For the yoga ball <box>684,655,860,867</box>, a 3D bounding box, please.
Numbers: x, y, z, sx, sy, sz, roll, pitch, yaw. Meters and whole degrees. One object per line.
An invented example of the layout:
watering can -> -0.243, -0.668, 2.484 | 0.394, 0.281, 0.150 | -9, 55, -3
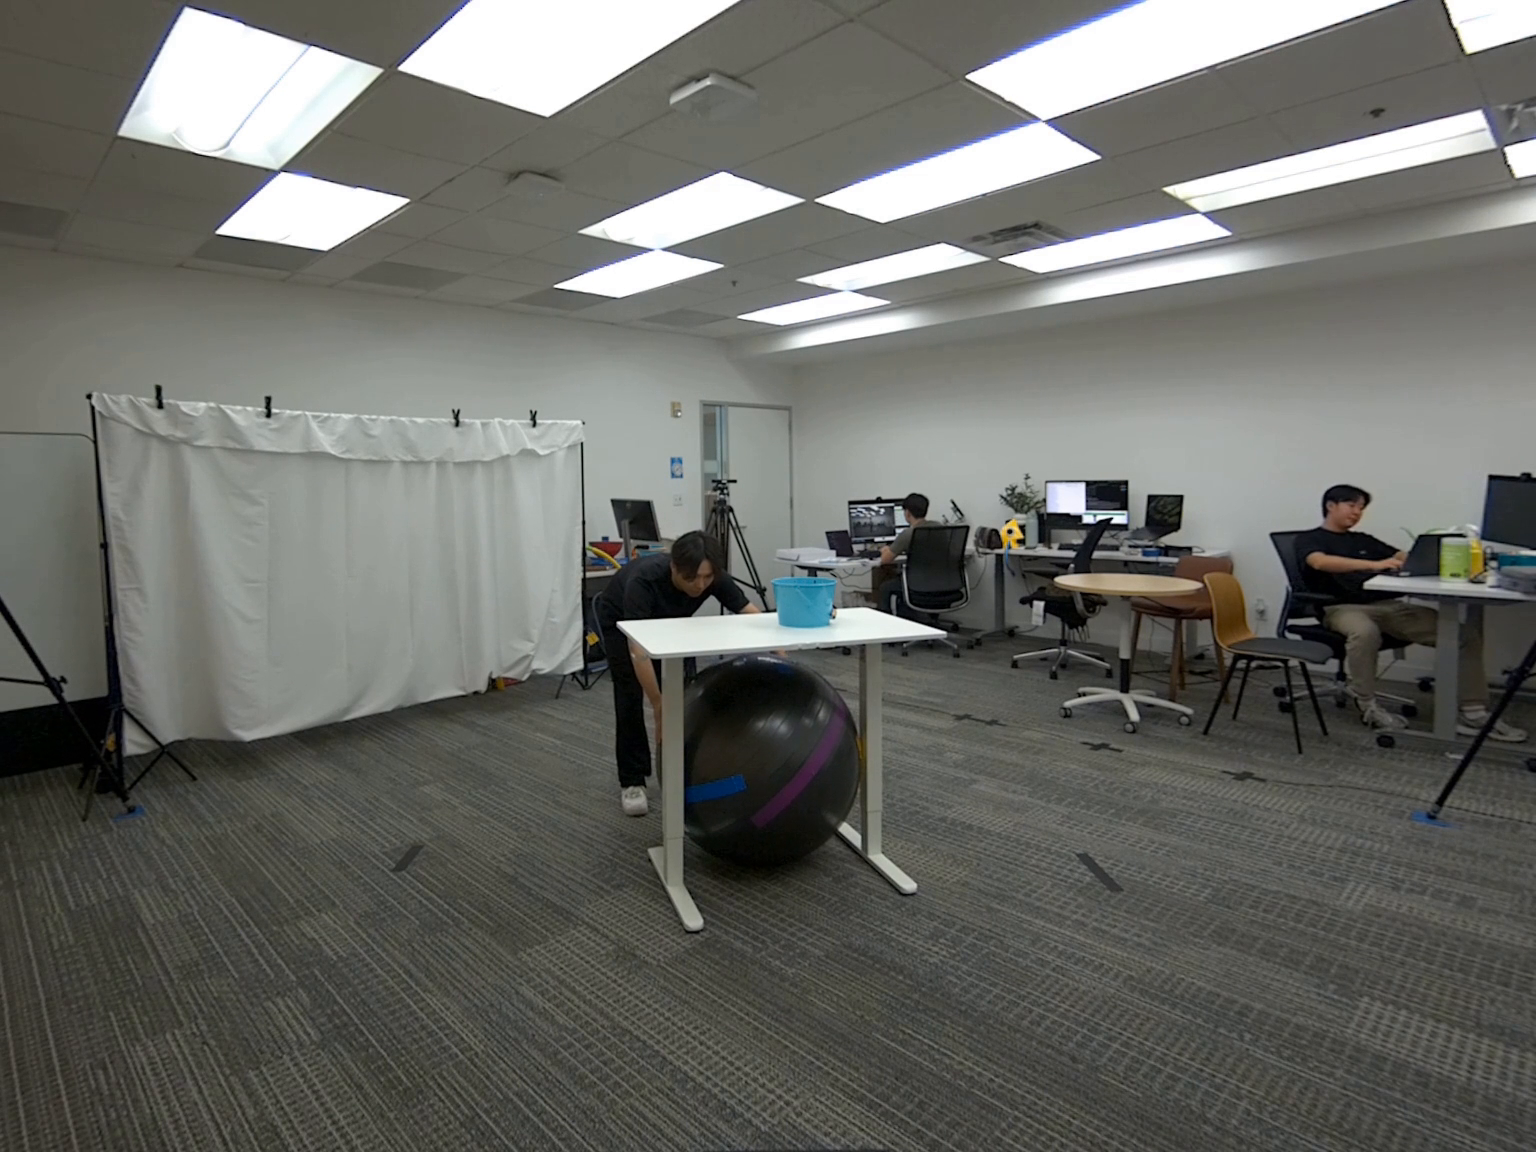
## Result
yoga ball -> -0.036, 0.680, 3.165 | 0.757, 0.755, 0.762 | -1, 5, -2
